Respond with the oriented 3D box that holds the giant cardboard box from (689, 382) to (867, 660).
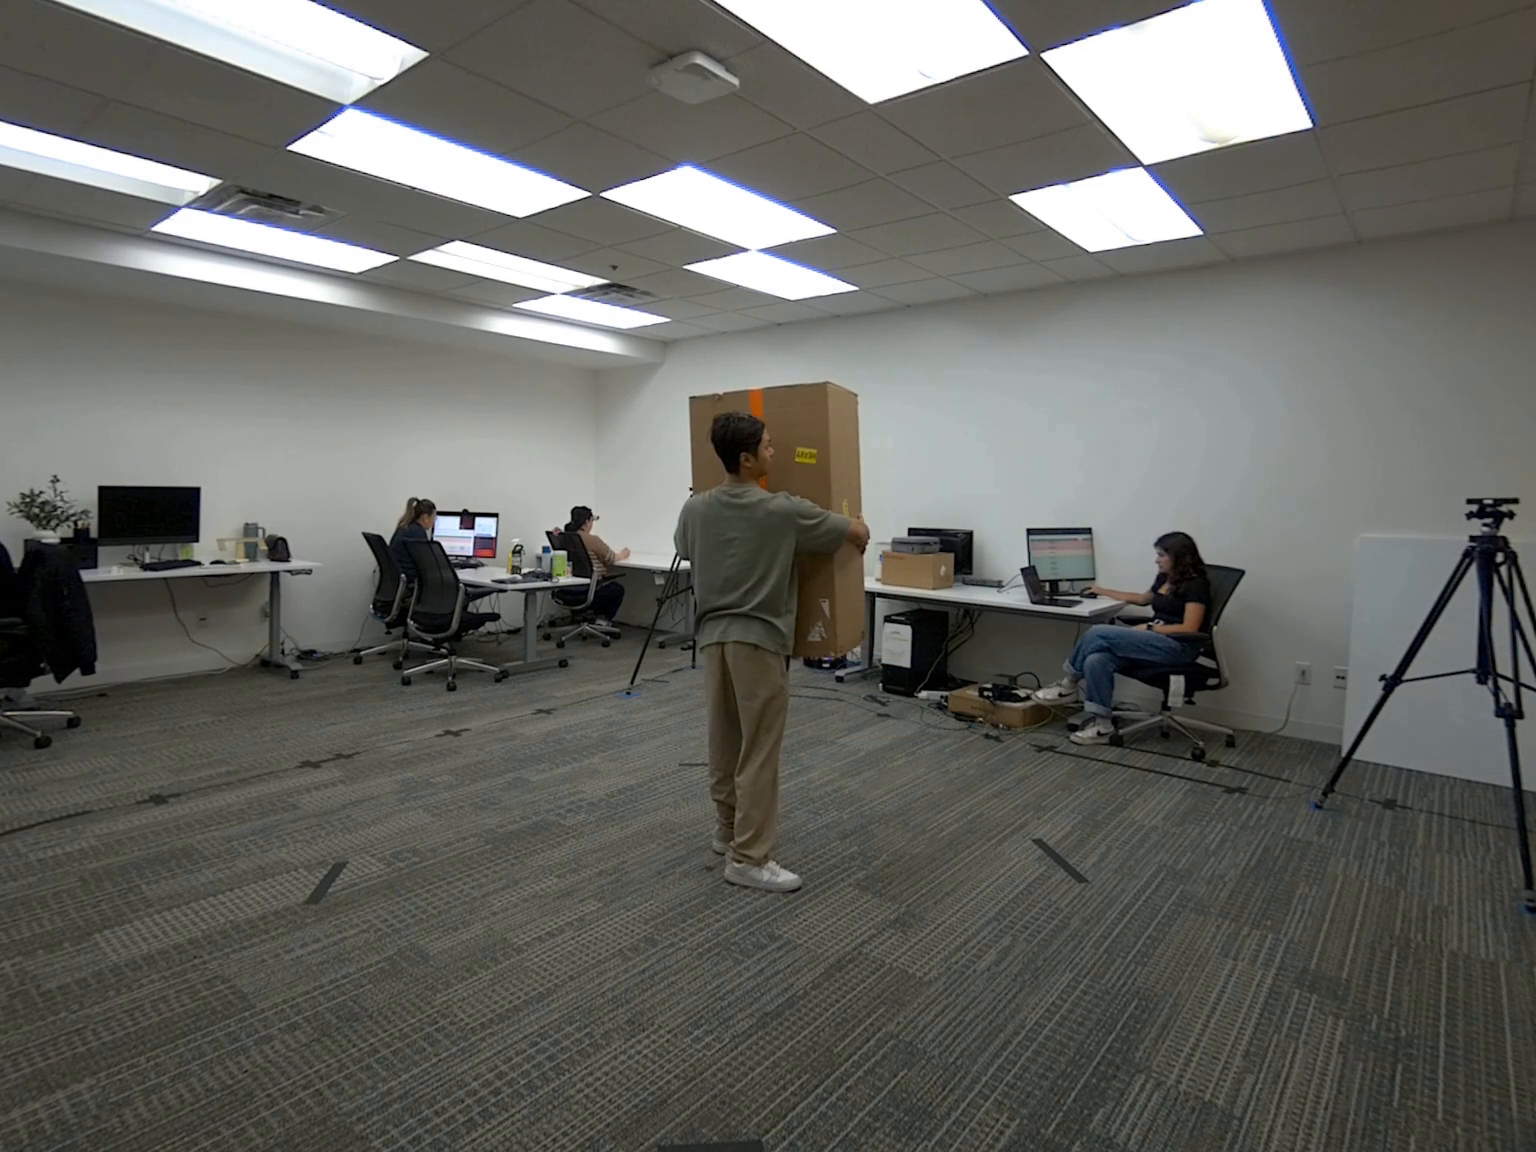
[{"bbox_3d":[0.043,-0.224,3.417,0.591,1.024,0.417,-1,2,25],"label":"giant cardboard box"}]
